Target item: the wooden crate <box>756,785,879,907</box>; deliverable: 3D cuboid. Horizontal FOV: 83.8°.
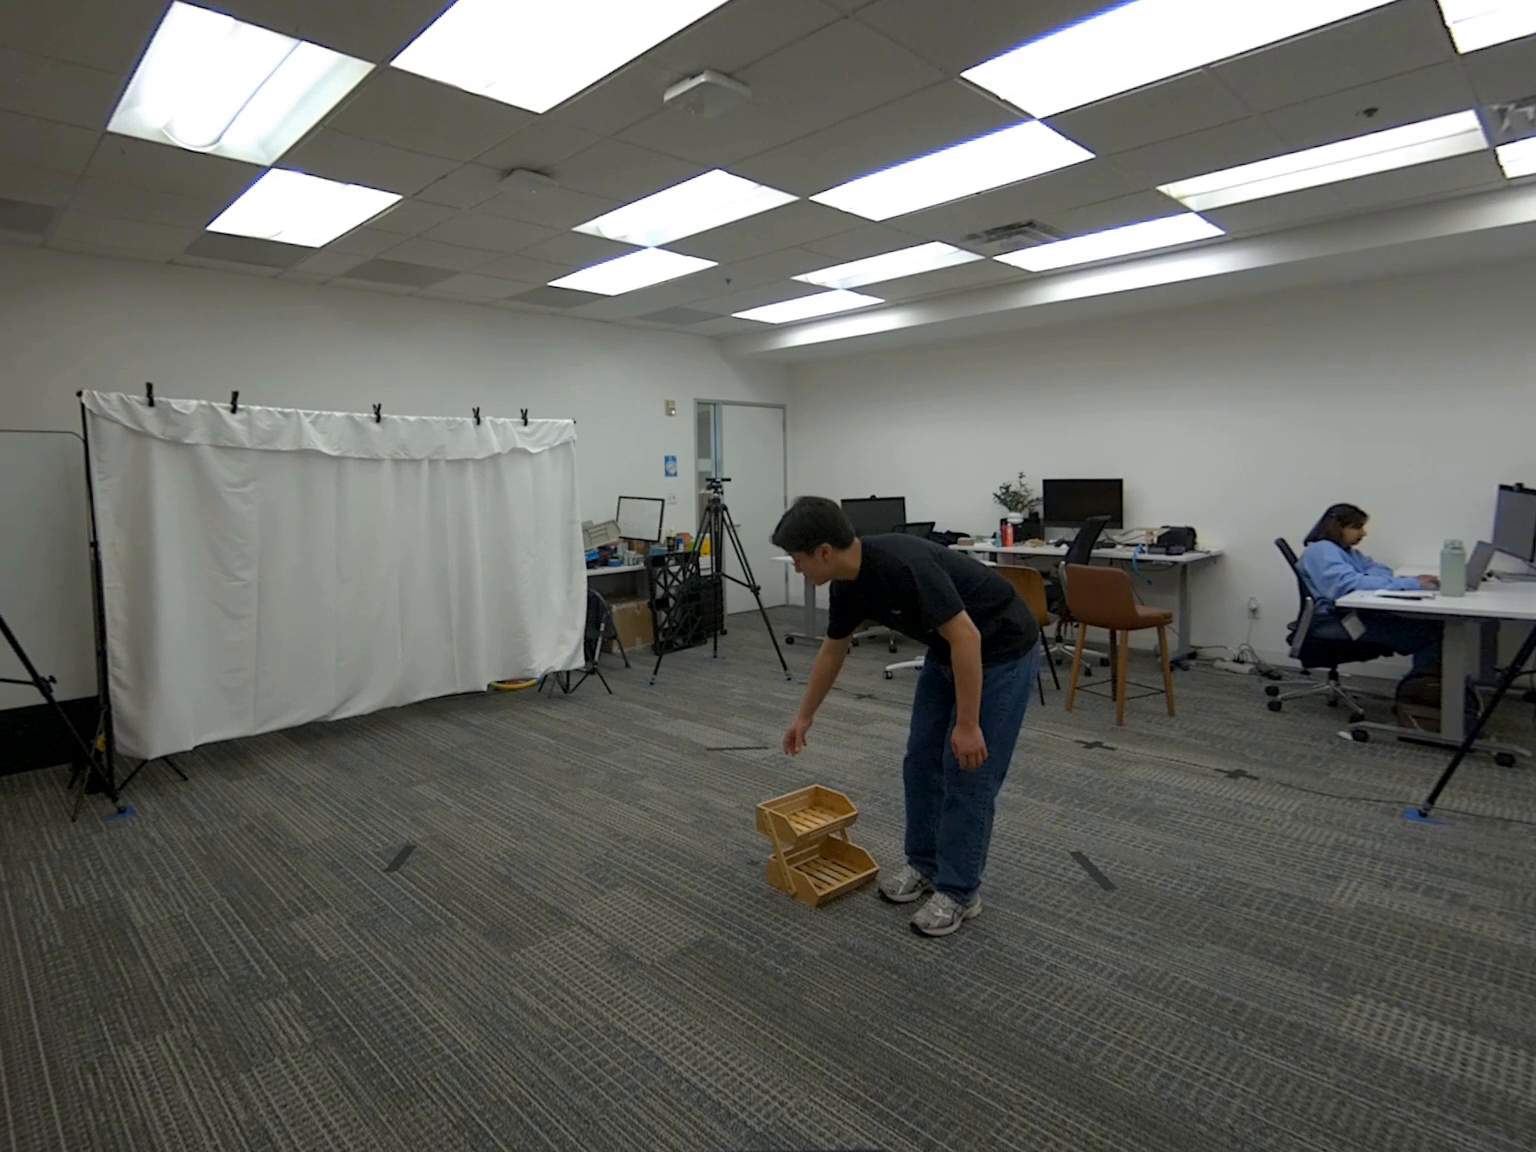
[{"bbox_3d":[0.178,0.922,2.962,0.316,0.272,0.311,-5,6,-41],"label":"wooden crate"}]
